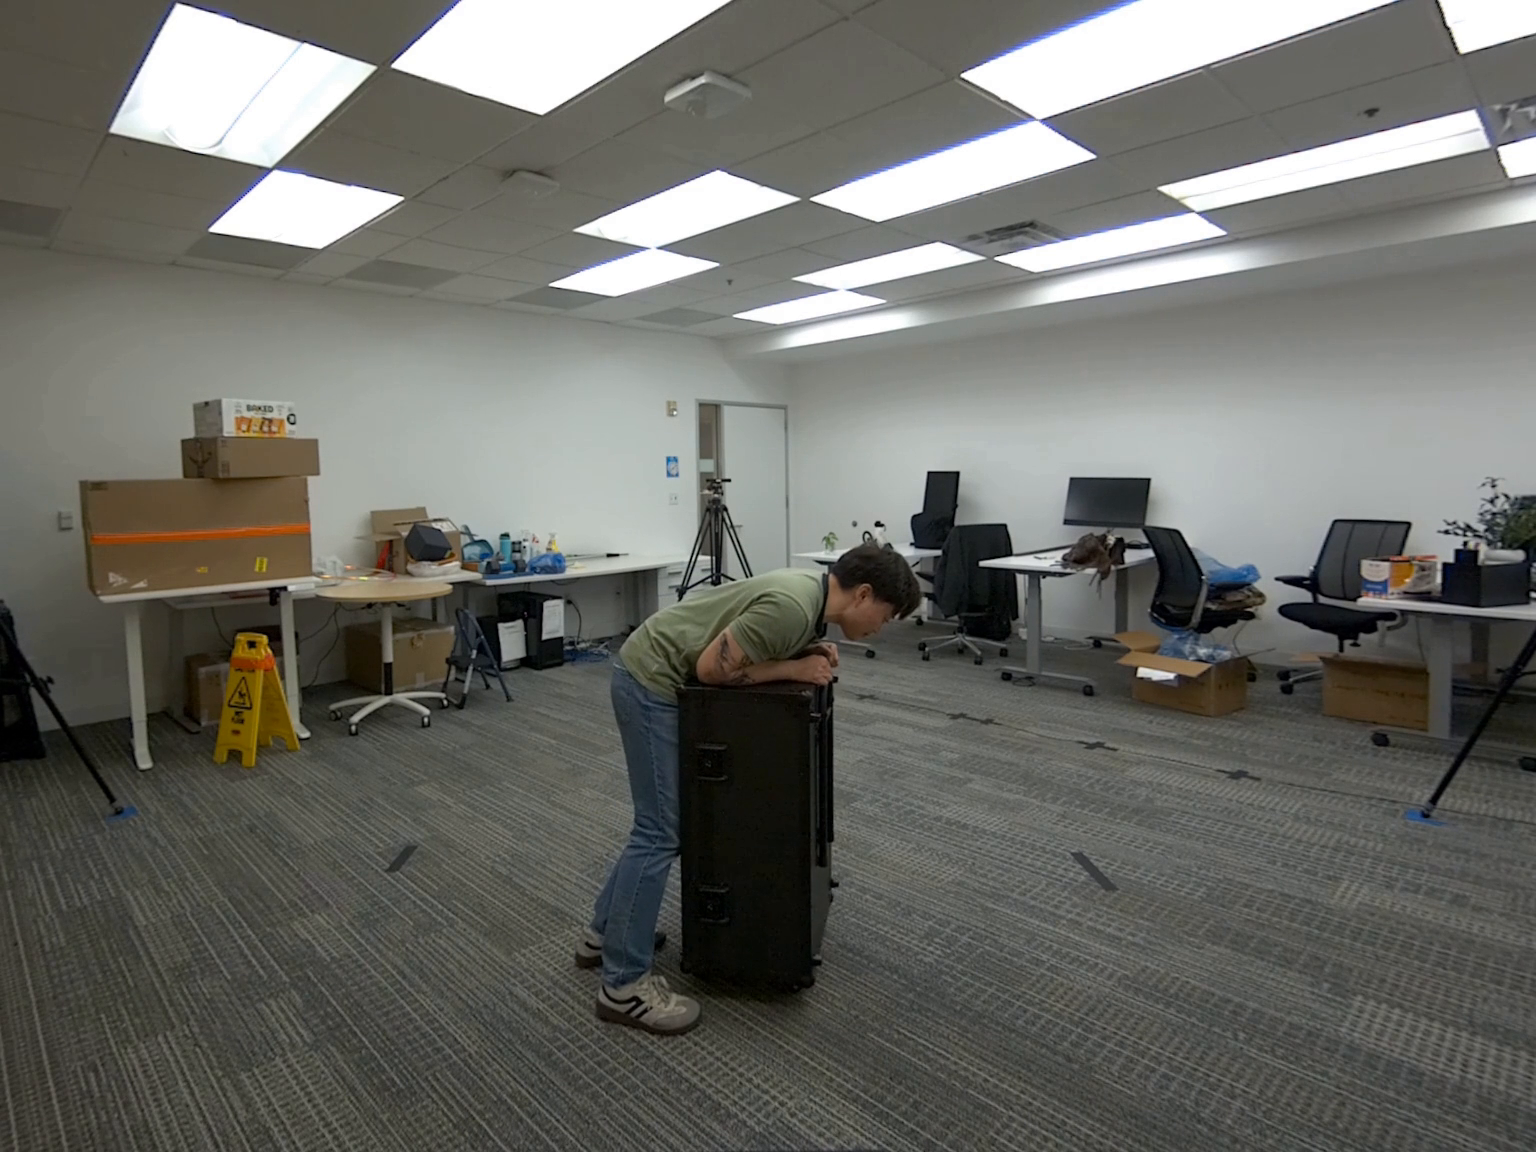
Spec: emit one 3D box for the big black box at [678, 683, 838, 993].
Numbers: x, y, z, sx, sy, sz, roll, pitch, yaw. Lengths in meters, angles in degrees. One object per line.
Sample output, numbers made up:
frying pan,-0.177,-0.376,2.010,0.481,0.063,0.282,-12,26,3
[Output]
big black box,-0.001,0.698,2.477,0.401,0.858,0.517,1,5,12
